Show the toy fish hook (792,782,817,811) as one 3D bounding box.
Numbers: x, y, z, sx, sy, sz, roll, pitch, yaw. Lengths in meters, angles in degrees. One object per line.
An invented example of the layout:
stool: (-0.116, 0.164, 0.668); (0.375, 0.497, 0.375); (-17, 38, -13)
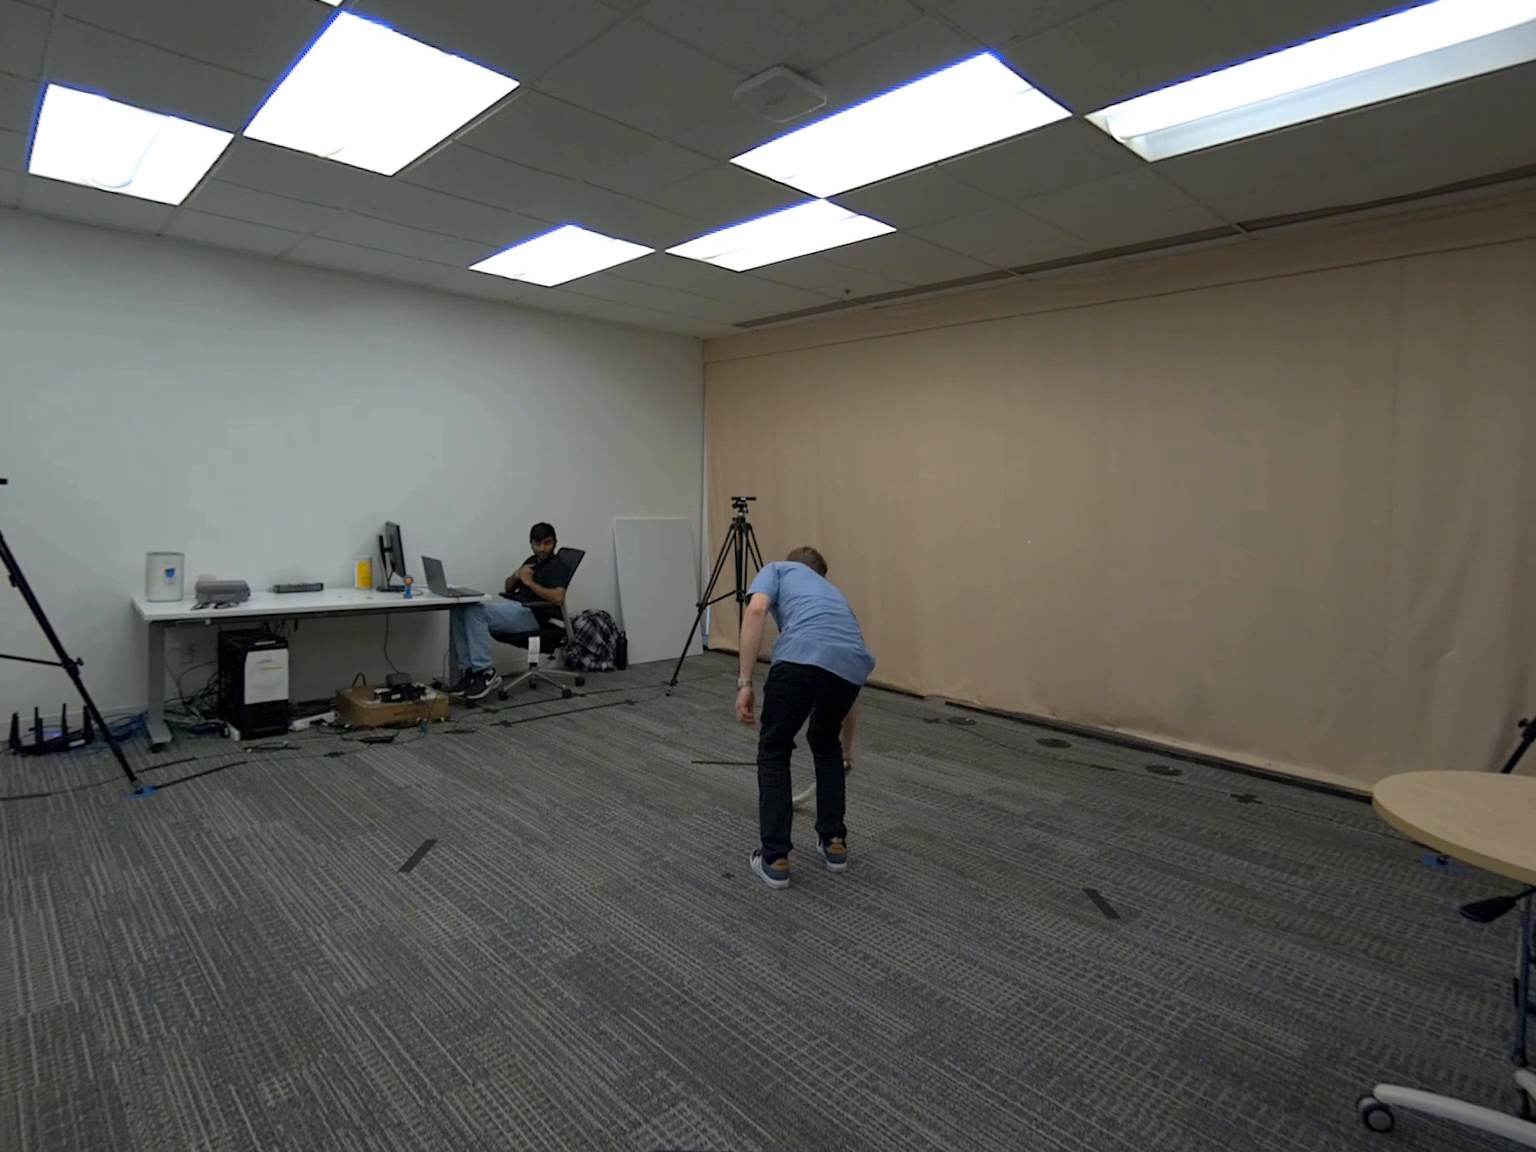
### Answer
toy fish hook: (0.163, 0.912, 3.626); (0.219, 0.049, 0.506); (4, -34, -34)
